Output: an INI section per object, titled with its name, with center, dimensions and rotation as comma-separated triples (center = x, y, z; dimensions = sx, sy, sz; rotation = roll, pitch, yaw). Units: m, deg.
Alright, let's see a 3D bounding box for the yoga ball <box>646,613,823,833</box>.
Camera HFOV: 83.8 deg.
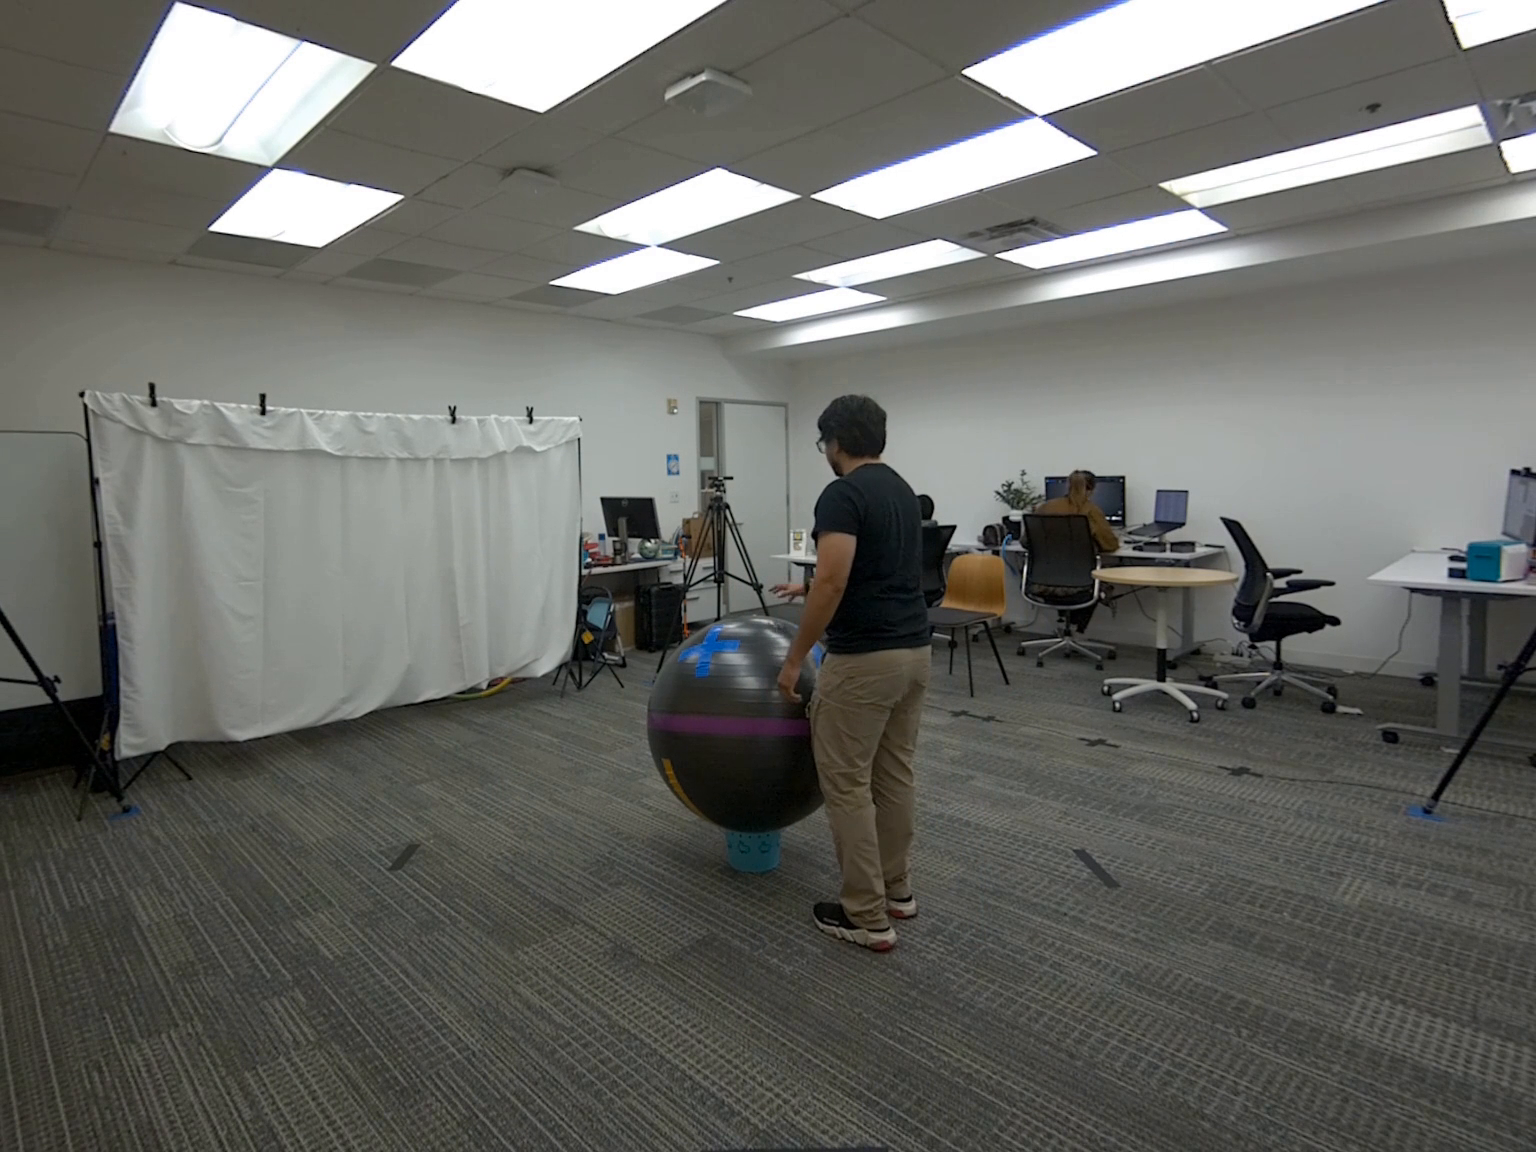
[yoga ball]
center = -0.063, 0.532, 3.095
dimensions = 0.757, 0.755, 0.762
rotation = -1, 5, -2
